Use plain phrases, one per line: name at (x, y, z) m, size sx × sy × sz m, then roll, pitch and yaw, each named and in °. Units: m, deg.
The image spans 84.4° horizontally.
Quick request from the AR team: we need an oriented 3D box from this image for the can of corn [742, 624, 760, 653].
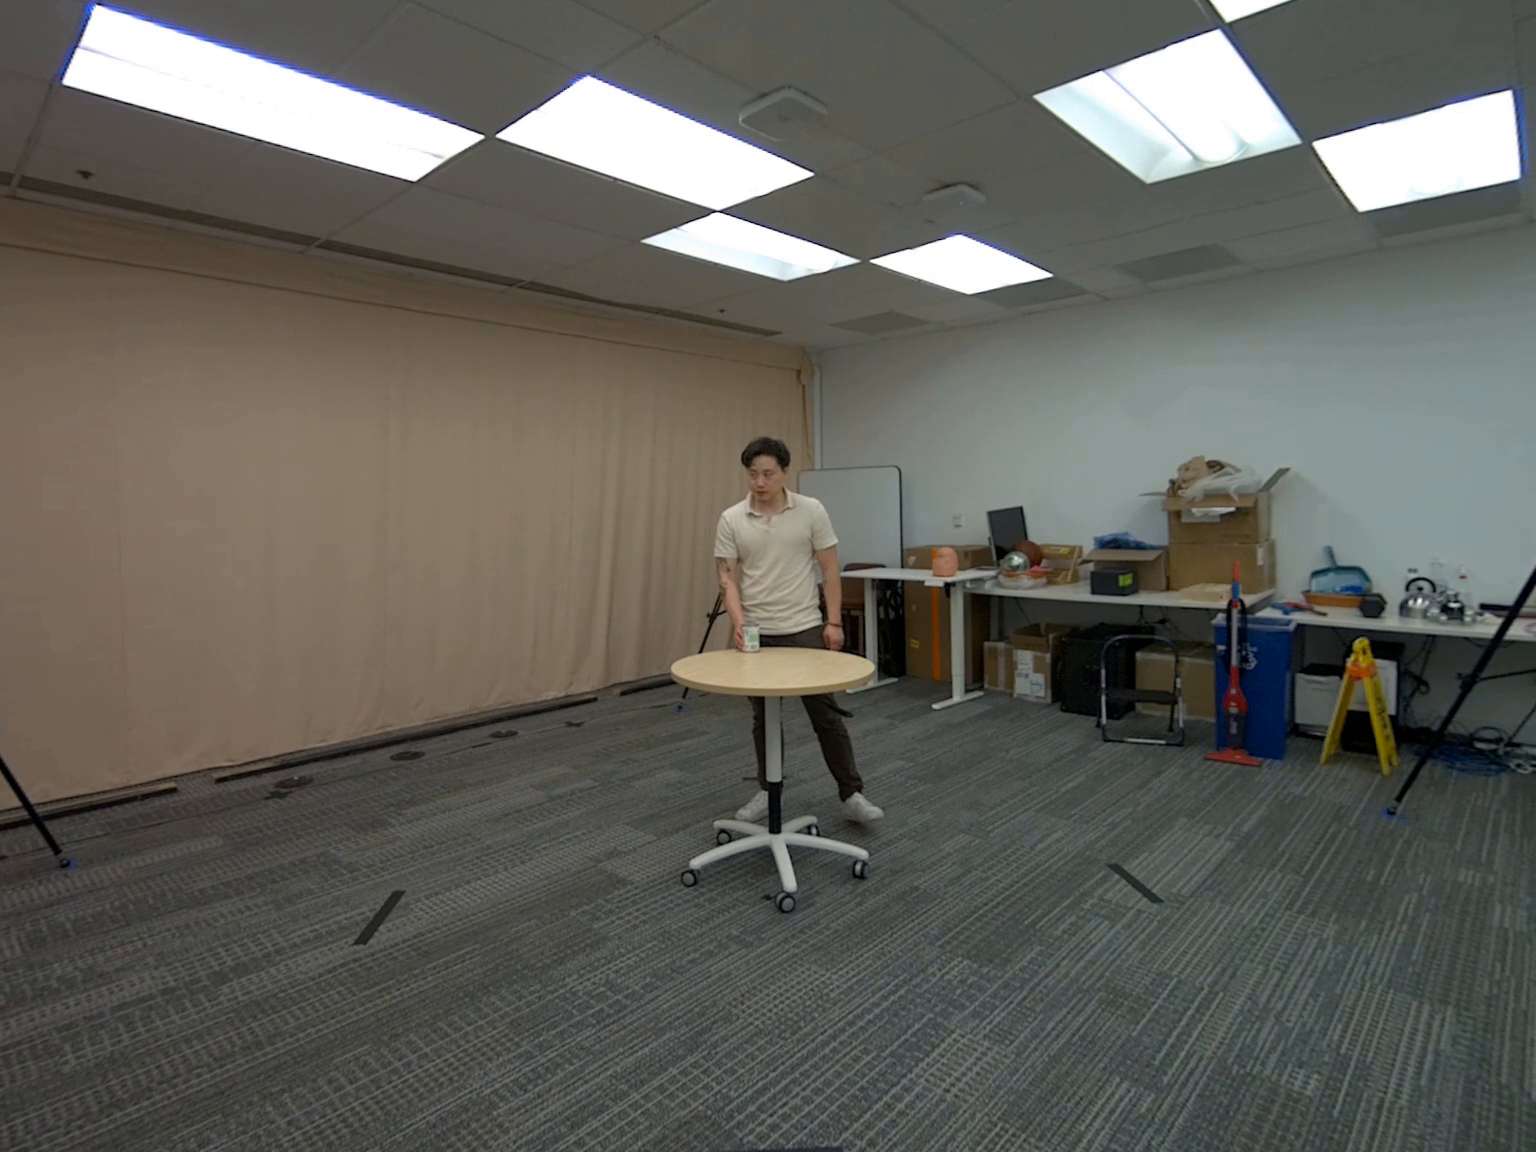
can of corn at (-0.069, 0.253, 3.473) m, size 0.074 × 0.111 × 0.074 m, roll 0°, pitch 3°, yaw -2°
